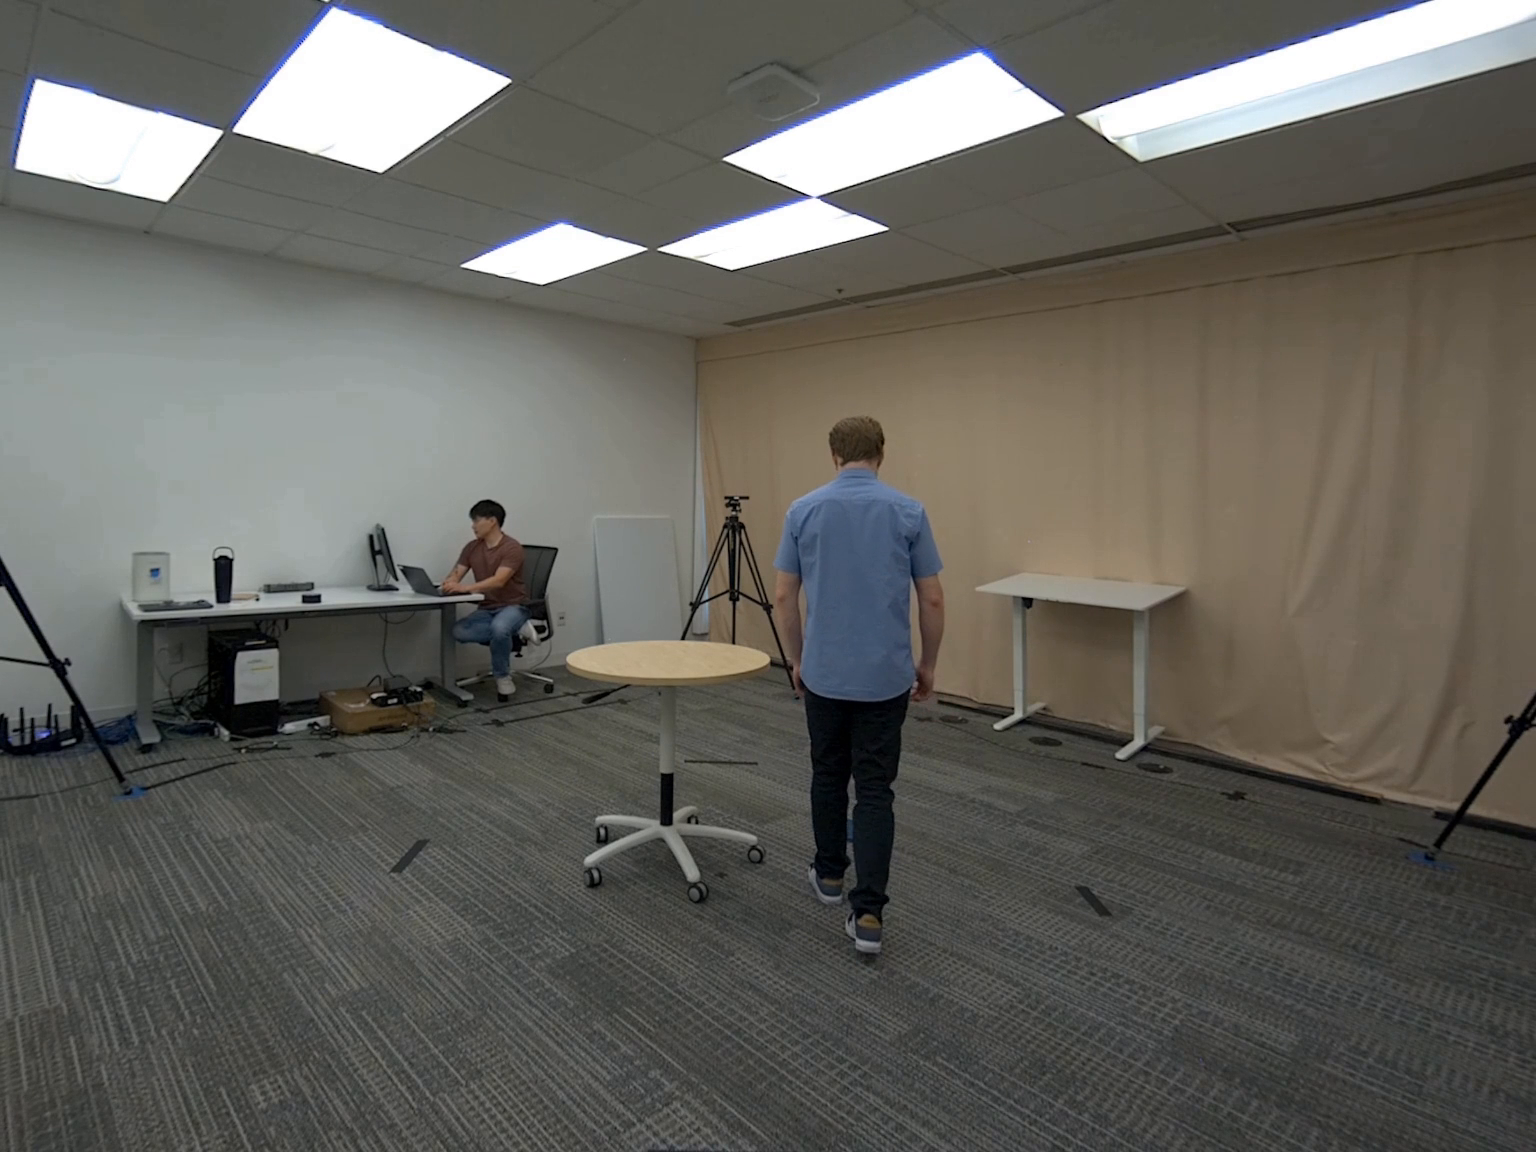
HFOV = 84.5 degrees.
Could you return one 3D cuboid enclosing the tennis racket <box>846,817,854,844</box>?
[{"bbox_3d":[0.332,1.072,3.494,0.209,0.032,0.443,0,4,-31],"label":"tennis racket"}]
